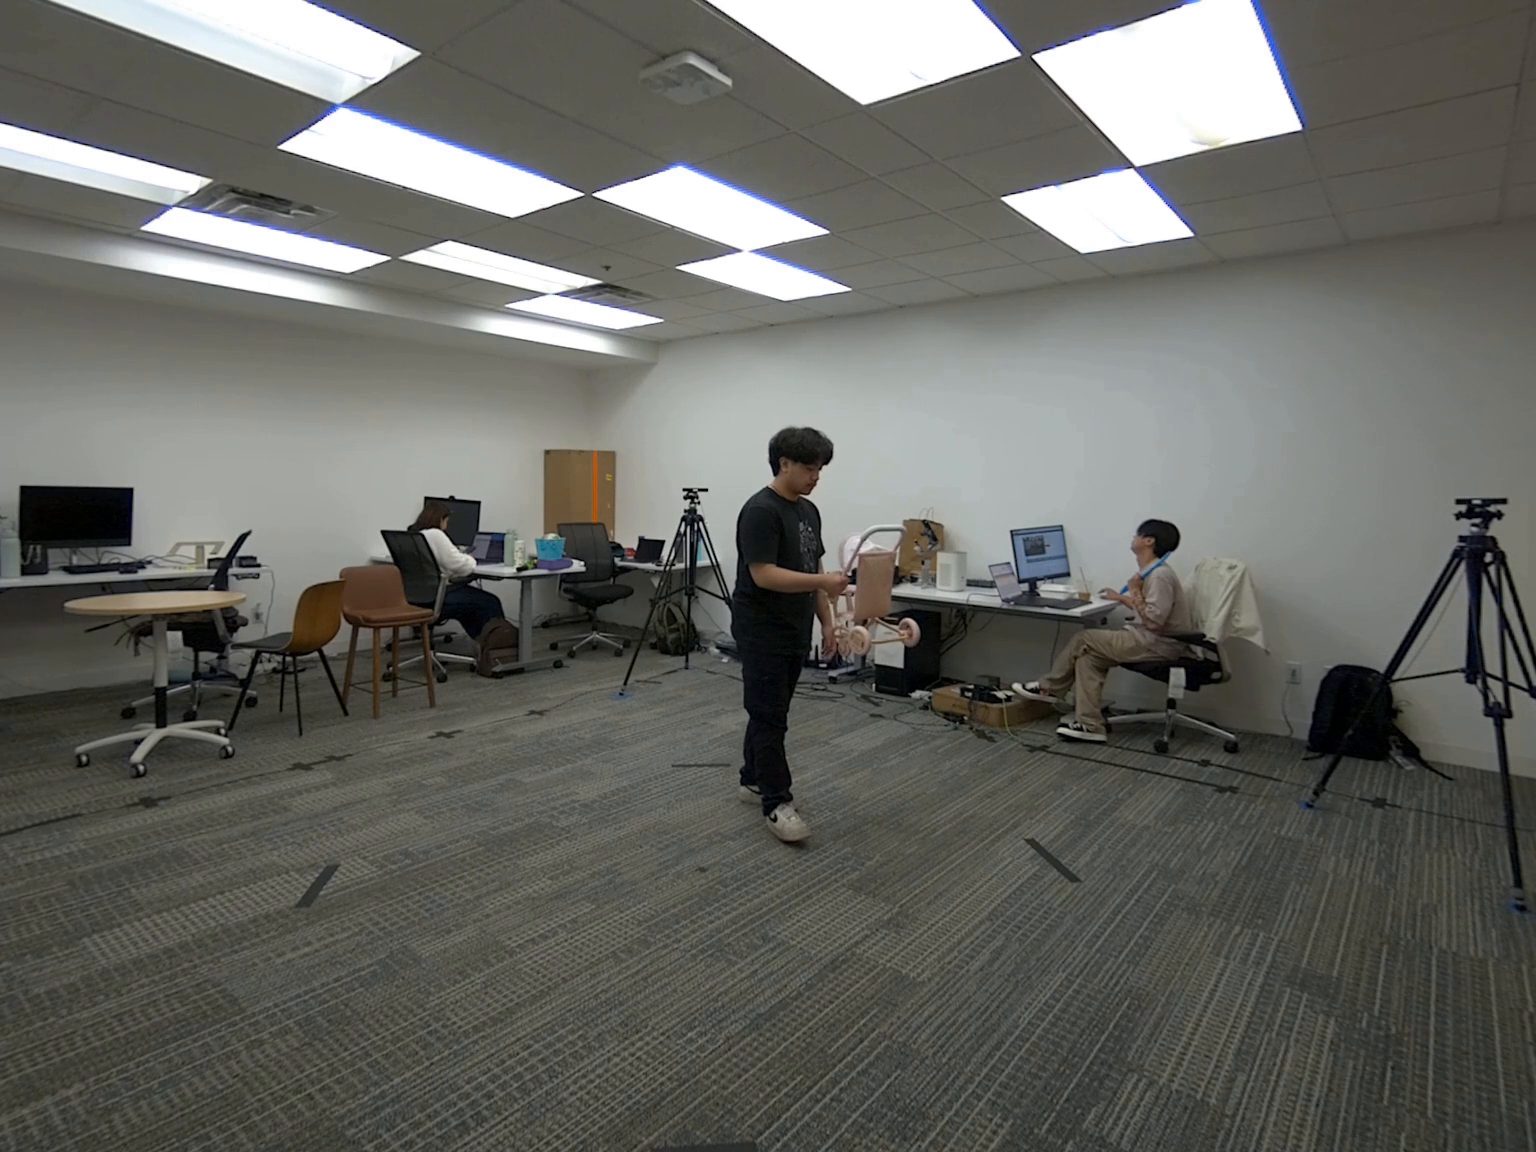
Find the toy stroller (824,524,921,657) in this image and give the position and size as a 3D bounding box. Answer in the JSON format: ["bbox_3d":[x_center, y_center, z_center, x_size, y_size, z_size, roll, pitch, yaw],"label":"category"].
[{"bbox_3d":[0.367,0.067,3.313,0.275,0.533,0.350,-5,4,-28],"label":"toy stroller"}]
